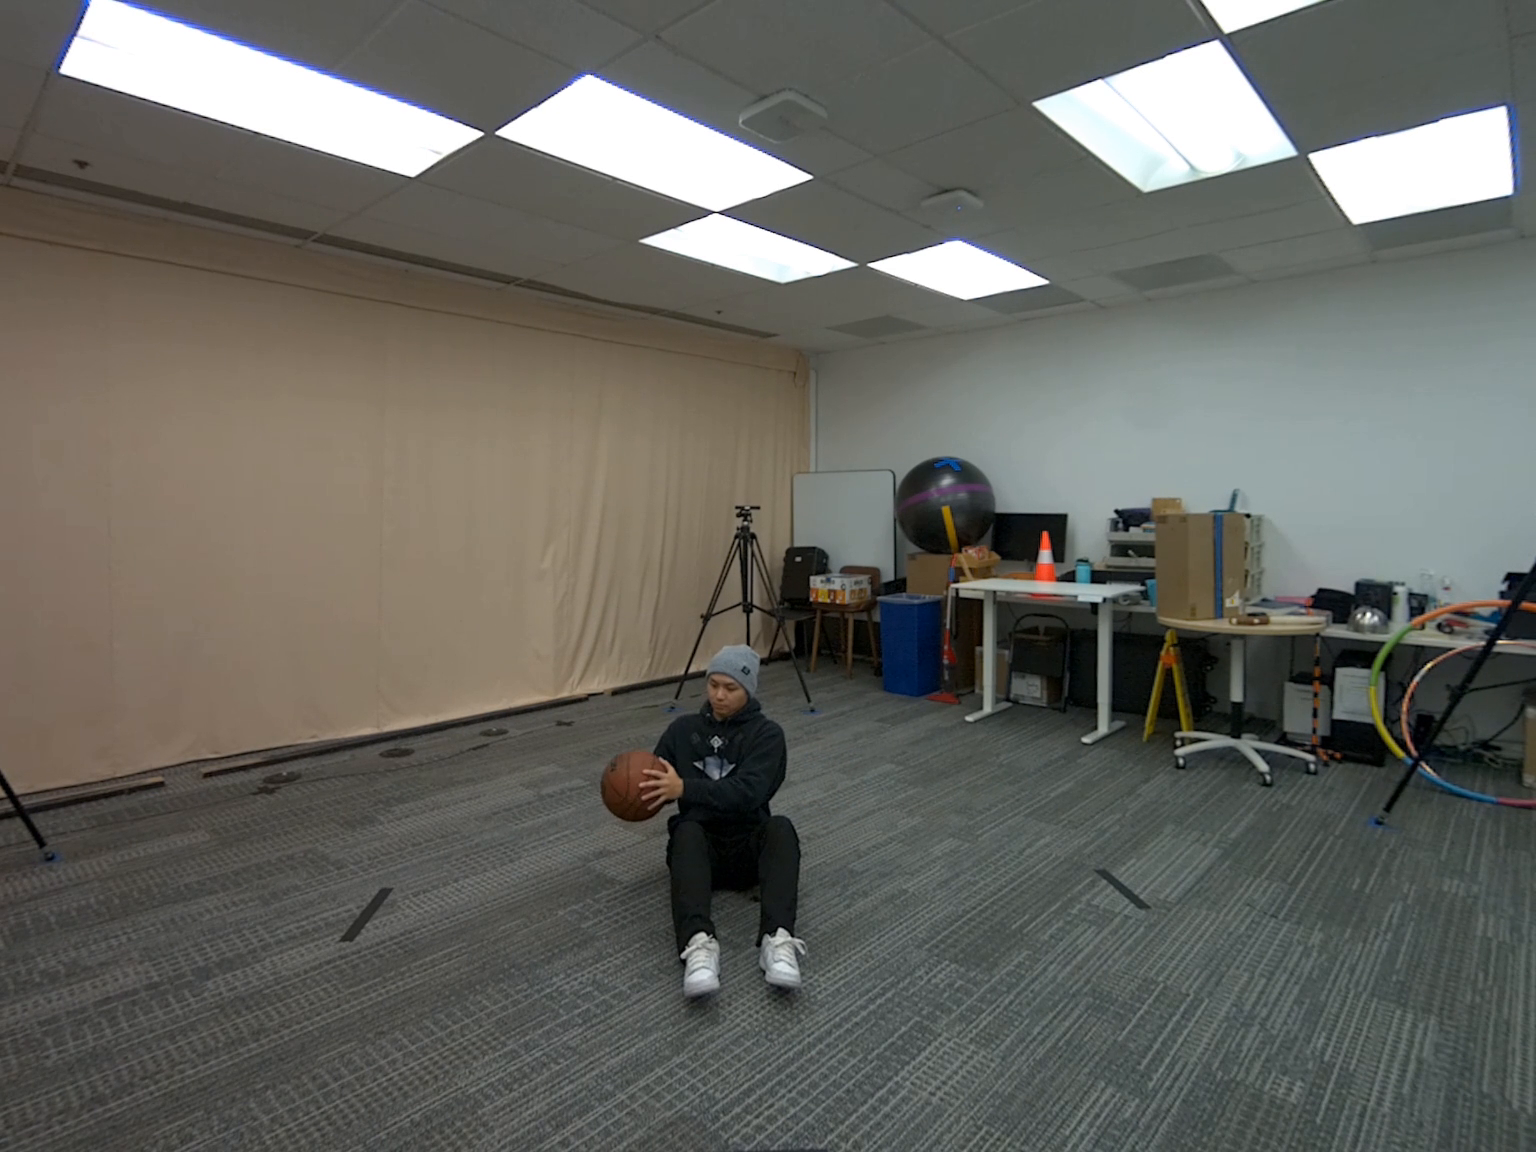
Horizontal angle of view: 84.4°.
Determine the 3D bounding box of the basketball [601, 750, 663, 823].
[{"bbox_3d":[-0.455,0.721,2.892,0.236,0.235,0.237,0,4,-2],"label":"basketball"}]
